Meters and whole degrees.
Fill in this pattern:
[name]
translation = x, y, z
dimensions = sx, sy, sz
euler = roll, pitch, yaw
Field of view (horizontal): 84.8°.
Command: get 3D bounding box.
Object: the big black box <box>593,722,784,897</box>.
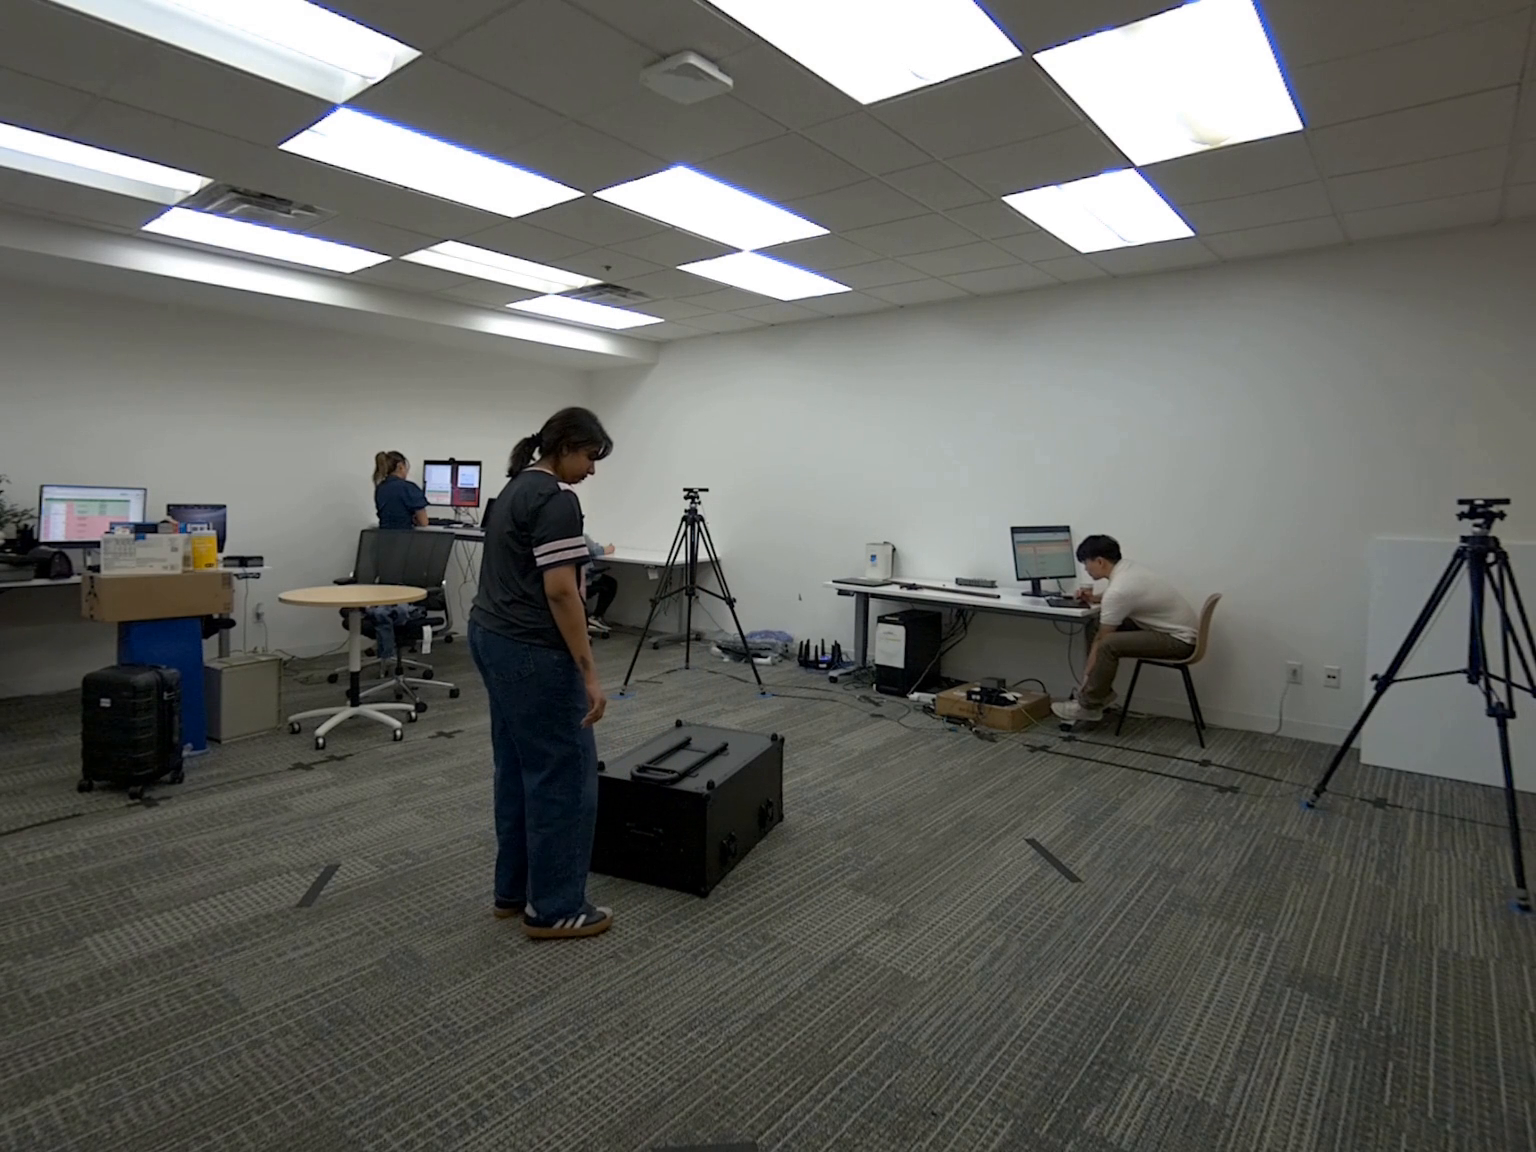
[big black box]
translation = -0.294, 0.847, 3.361
dimensions = 0.533, 0.395, 0.844
euler = 3, 5, 21
